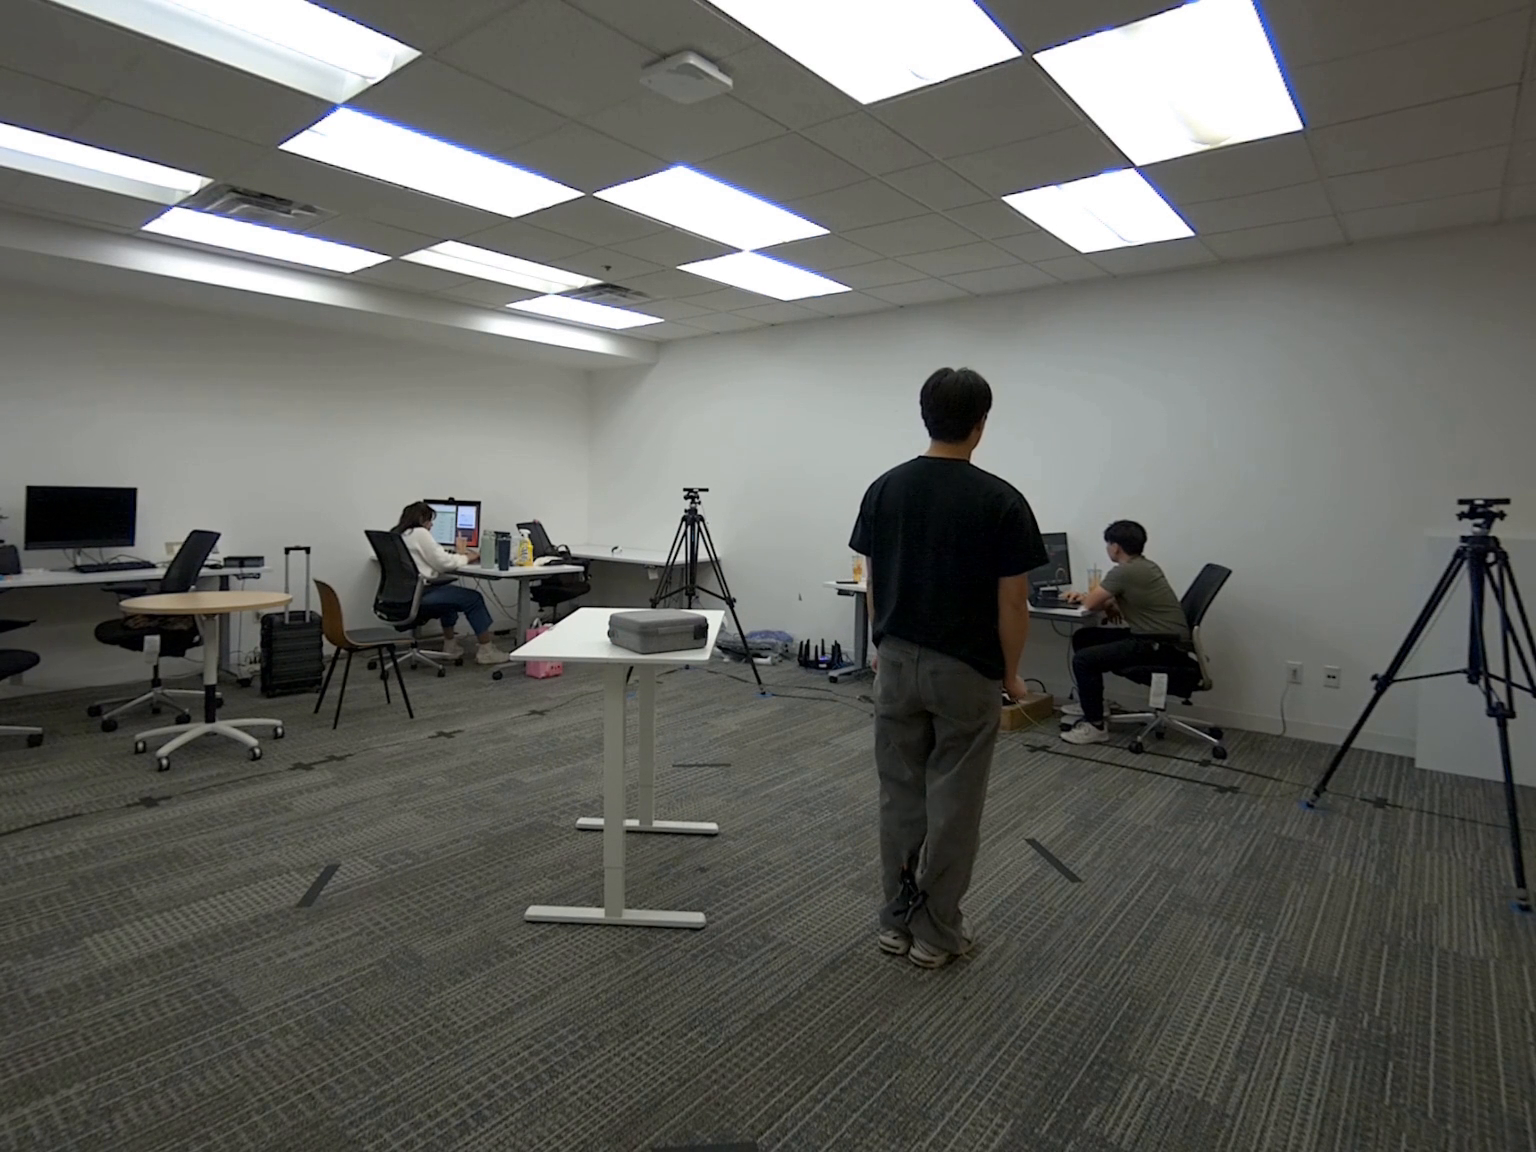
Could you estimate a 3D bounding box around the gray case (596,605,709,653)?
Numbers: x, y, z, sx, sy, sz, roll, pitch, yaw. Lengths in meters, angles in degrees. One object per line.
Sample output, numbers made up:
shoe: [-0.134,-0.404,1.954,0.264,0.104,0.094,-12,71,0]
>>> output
gray case: [-0.381,0.165,2.735,0.280,0.103,0.270,-1,5,-26]
